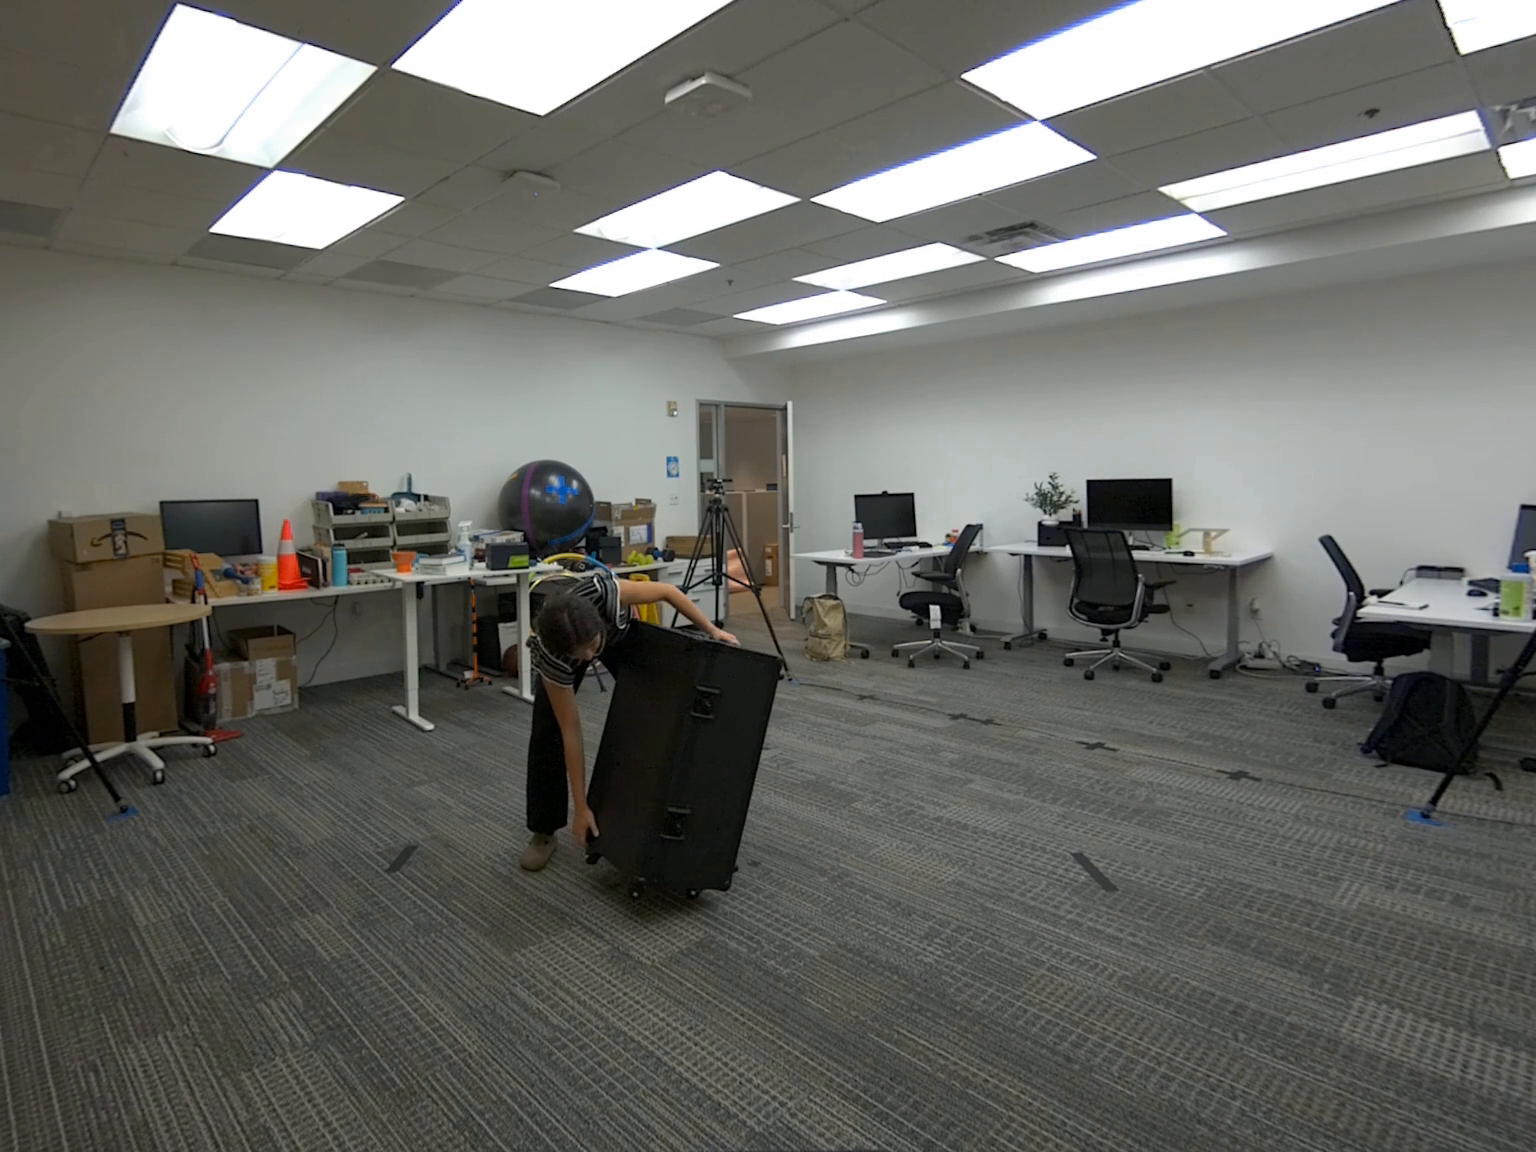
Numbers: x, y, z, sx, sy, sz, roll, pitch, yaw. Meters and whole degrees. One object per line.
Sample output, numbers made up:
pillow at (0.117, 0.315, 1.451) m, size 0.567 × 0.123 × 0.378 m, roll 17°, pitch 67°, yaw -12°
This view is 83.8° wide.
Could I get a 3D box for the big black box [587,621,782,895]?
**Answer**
big black box at (-0.305, 0.632, 2.947) m, size 0.384 × 0.864 × 0.536 m, roll 17°, pitch -6°, yaw -33°
